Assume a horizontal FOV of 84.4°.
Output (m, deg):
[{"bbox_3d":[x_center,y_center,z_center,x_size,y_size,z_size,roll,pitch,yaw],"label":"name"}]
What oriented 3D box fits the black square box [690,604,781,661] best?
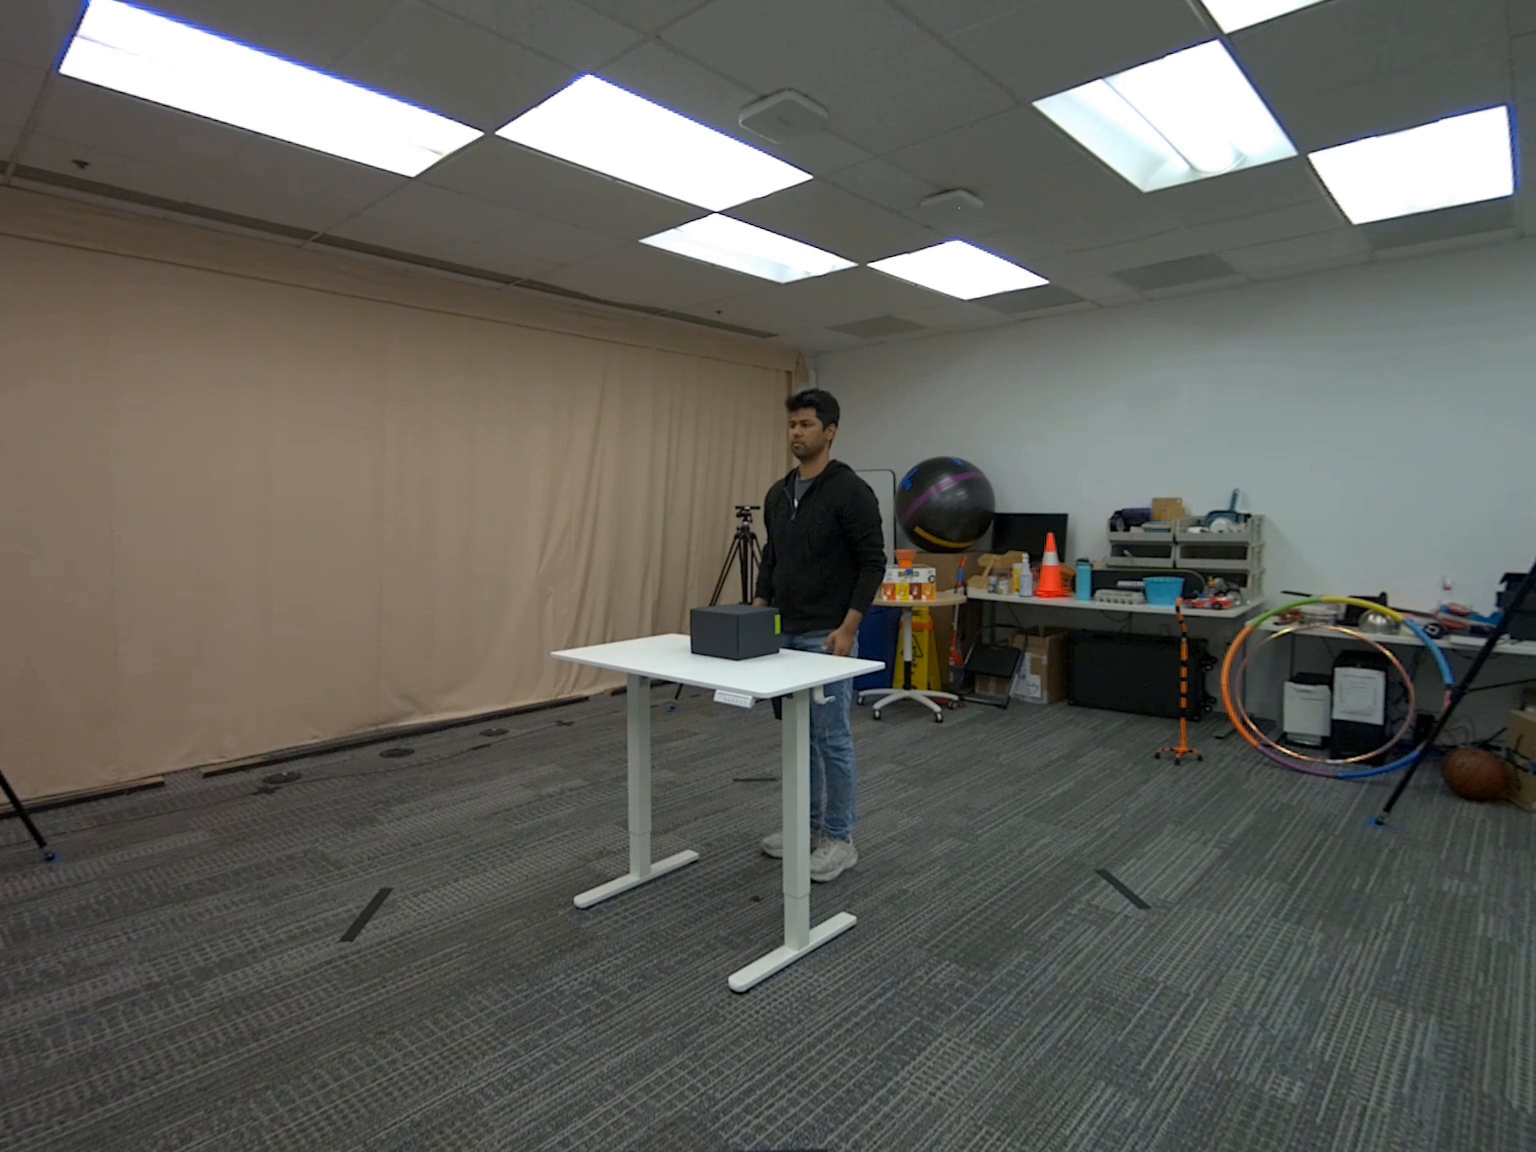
[{"bbox_3d":[-0.115,0.189,2.909,0.235,0.155,0.210,3,4,43],"label":"black square box"}]
